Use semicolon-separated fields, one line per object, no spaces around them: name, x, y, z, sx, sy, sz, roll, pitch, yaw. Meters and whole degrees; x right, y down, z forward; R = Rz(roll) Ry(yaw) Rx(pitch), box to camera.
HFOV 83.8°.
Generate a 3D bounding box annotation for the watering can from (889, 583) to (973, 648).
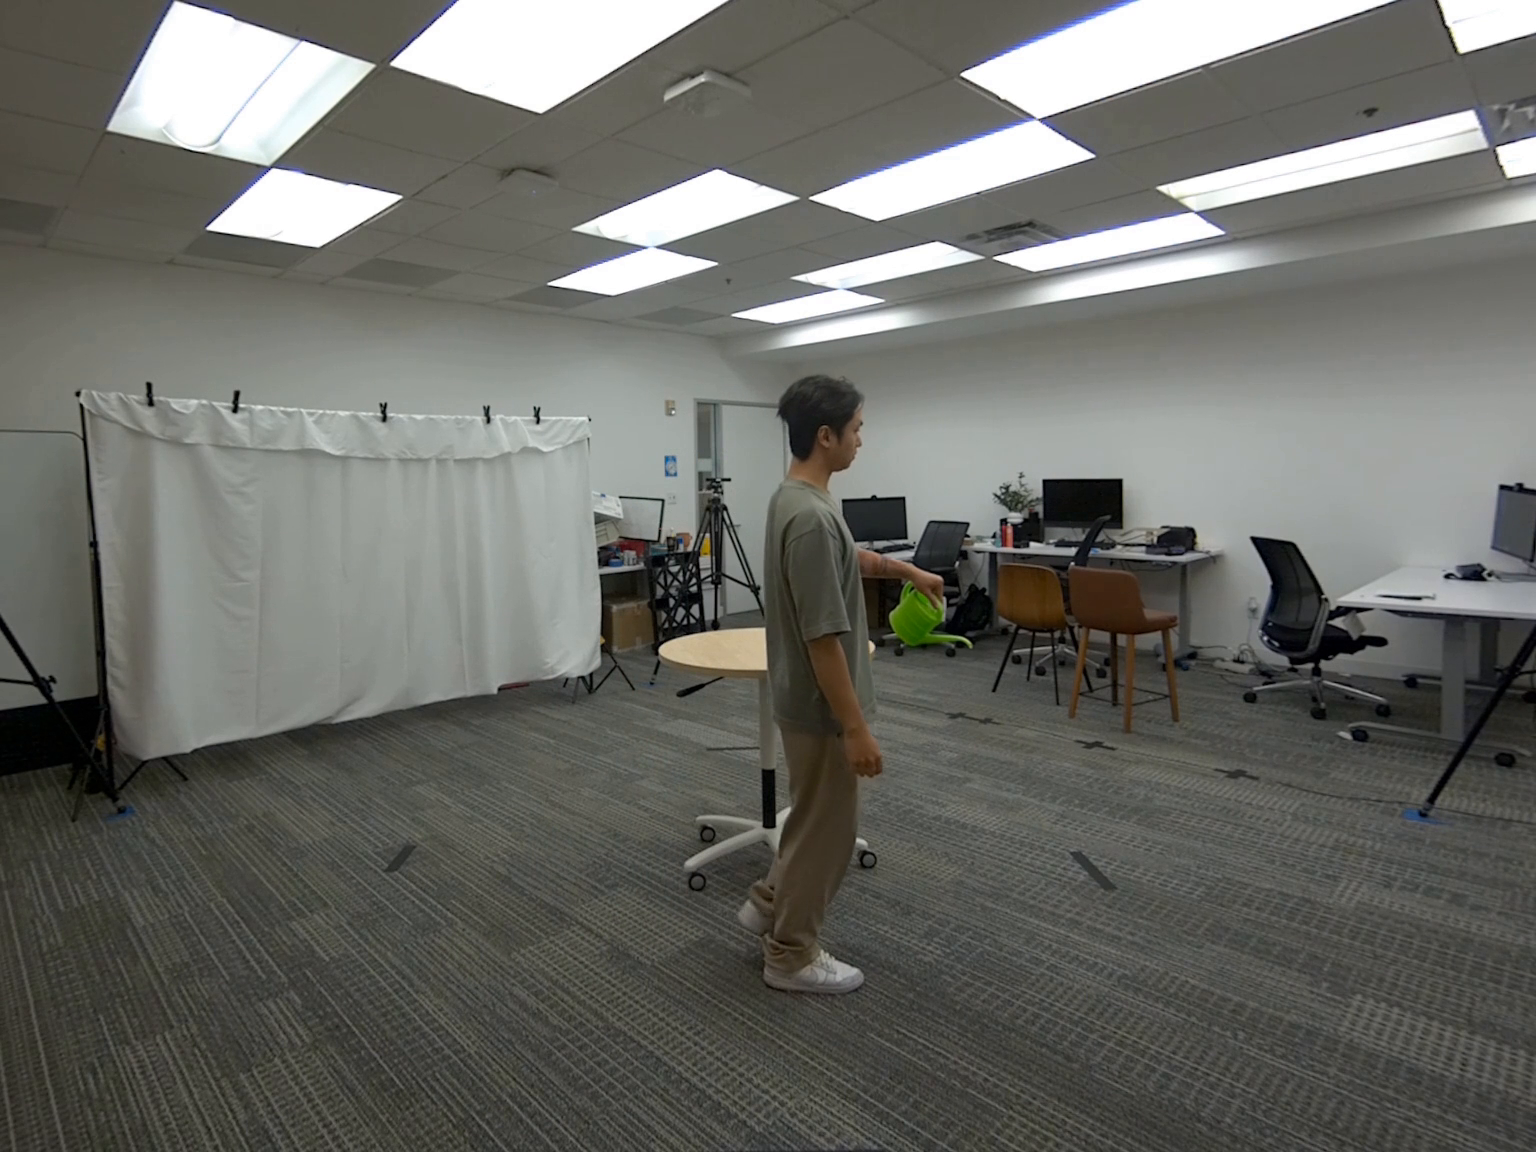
watering can;0.491;0.152;2.624;0.095;0.288;0.176;7;-44;-32
